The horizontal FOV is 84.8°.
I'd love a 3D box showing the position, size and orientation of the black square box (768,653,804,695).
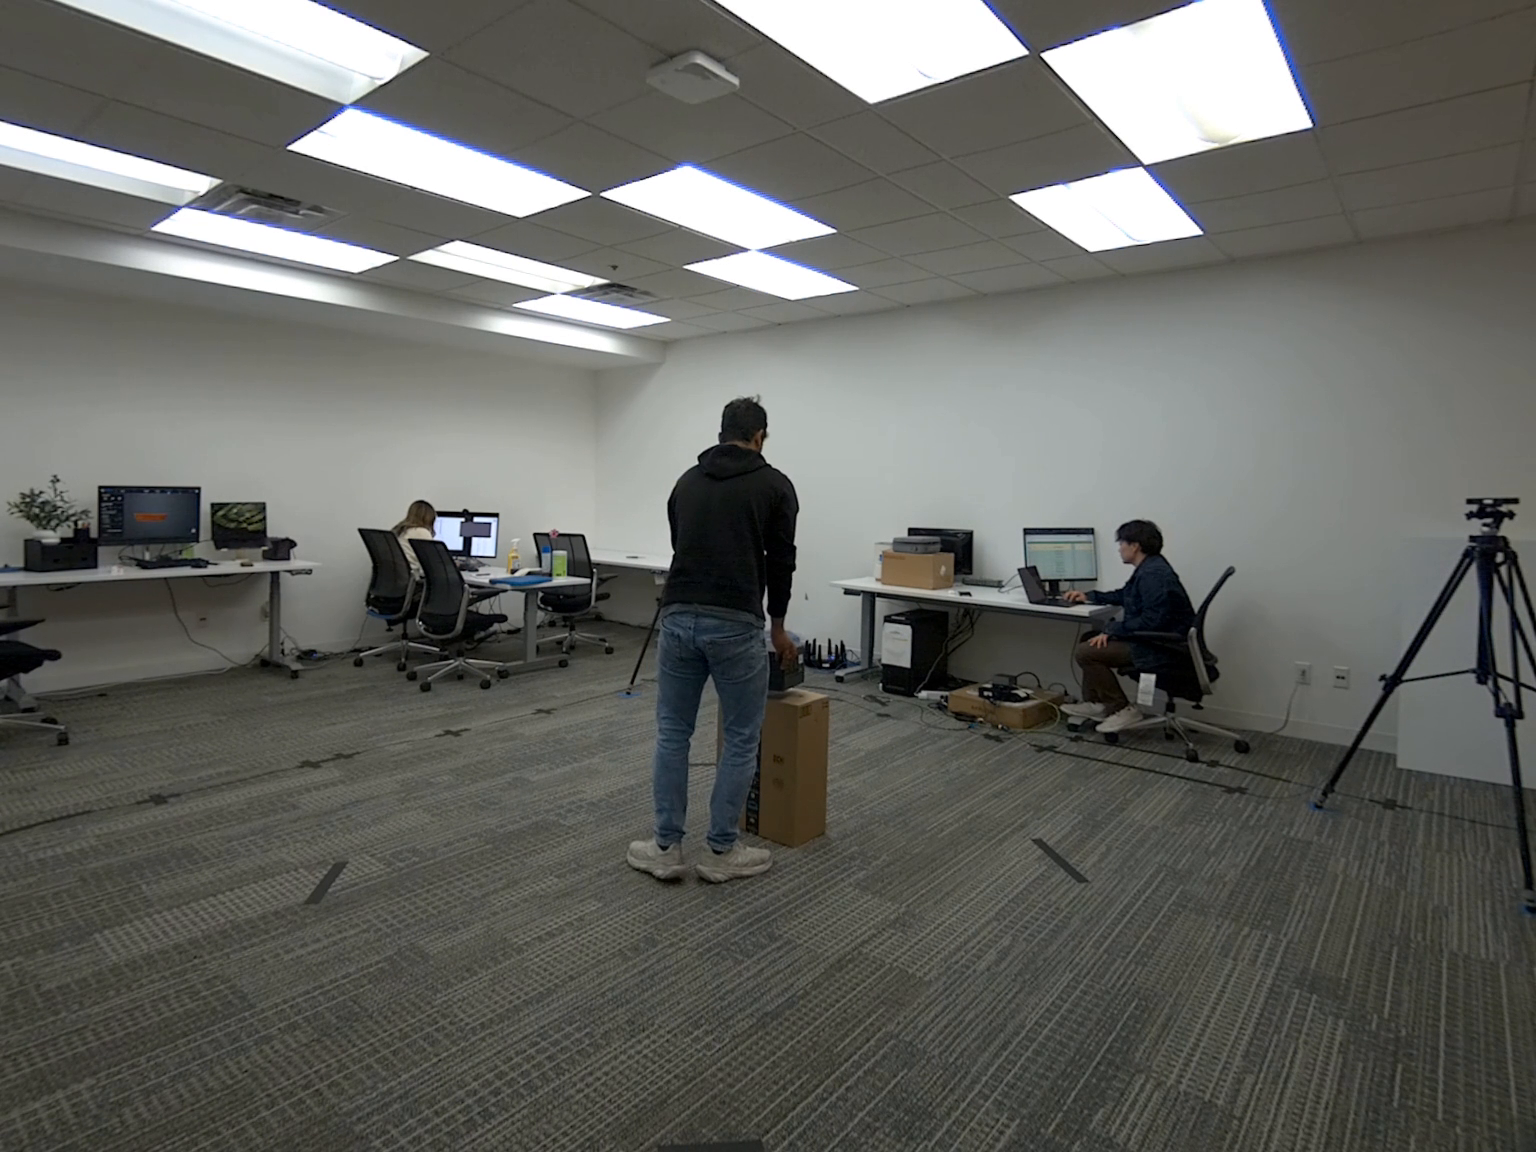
[{"bbox_3d":[-0.011,0.360,3.445,0.234,0.155,0.212,1,4,25],"label":"black square box"}]
